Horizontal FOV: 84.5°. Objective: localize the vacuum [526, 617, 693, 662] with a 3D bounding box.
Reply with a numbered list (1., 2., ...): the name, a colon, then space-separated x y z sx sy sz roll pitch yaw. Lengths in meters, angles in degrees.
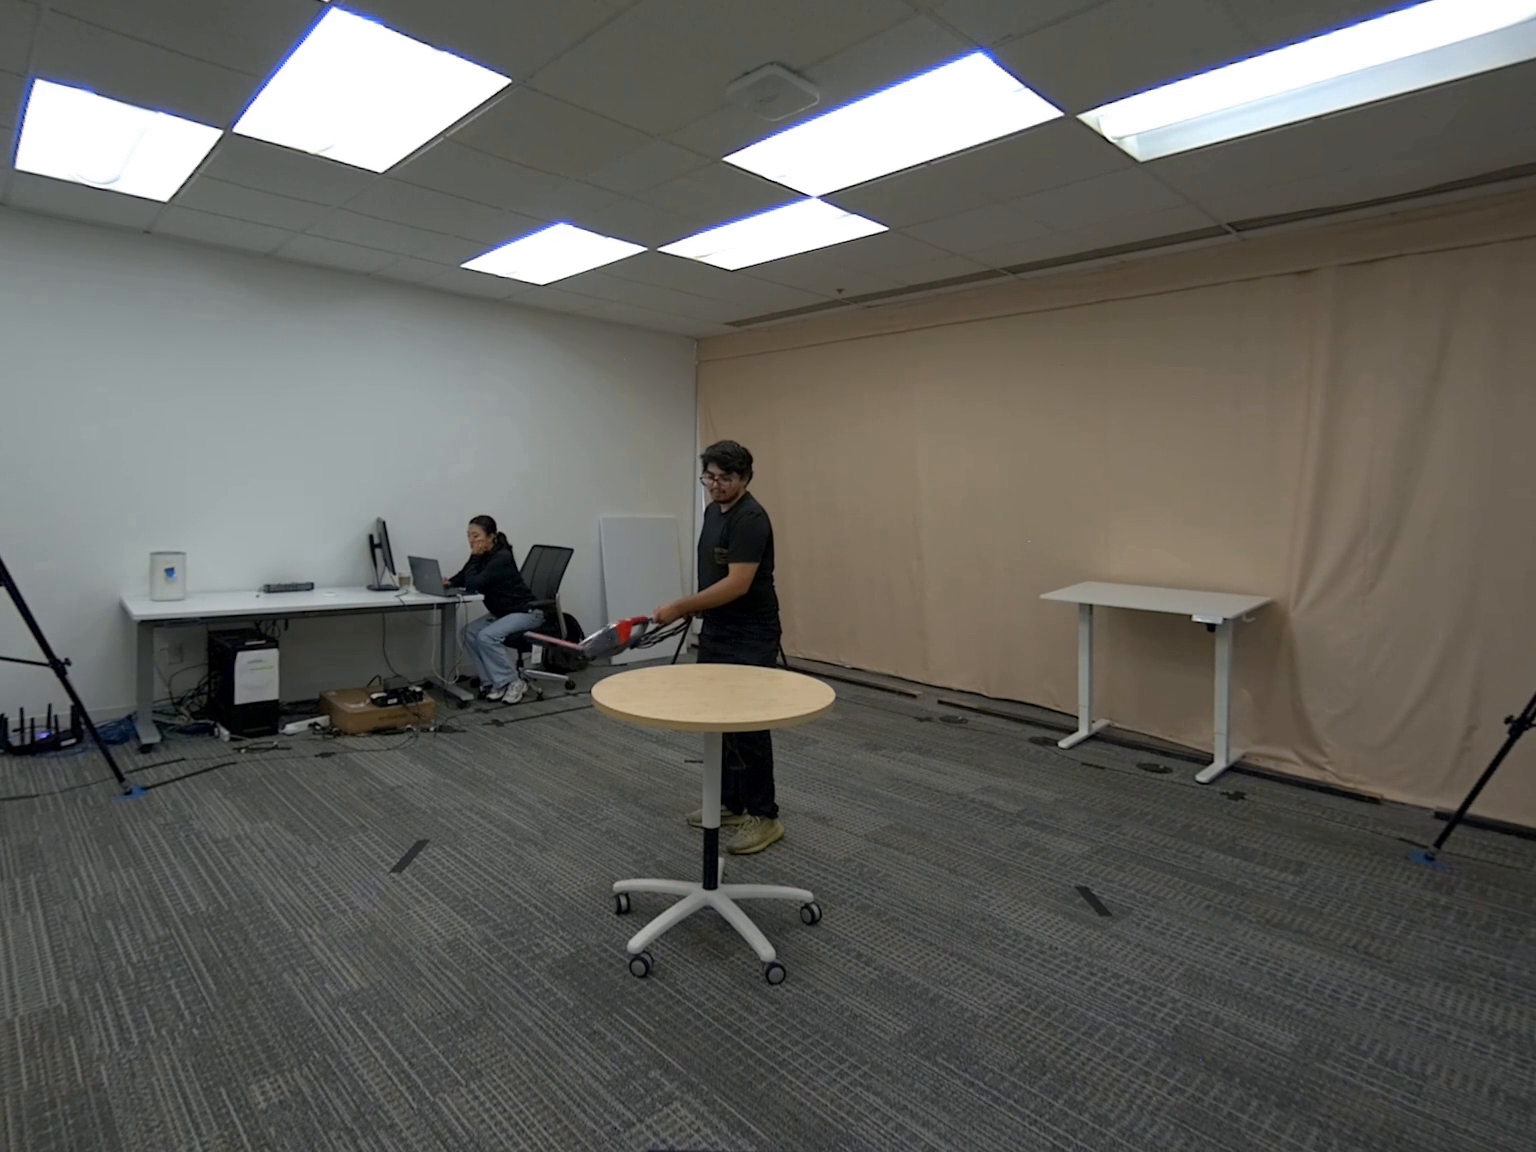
1. vacuum: -0.488 0.223 3.279 0.258 0.143 1.033 12 10 22
